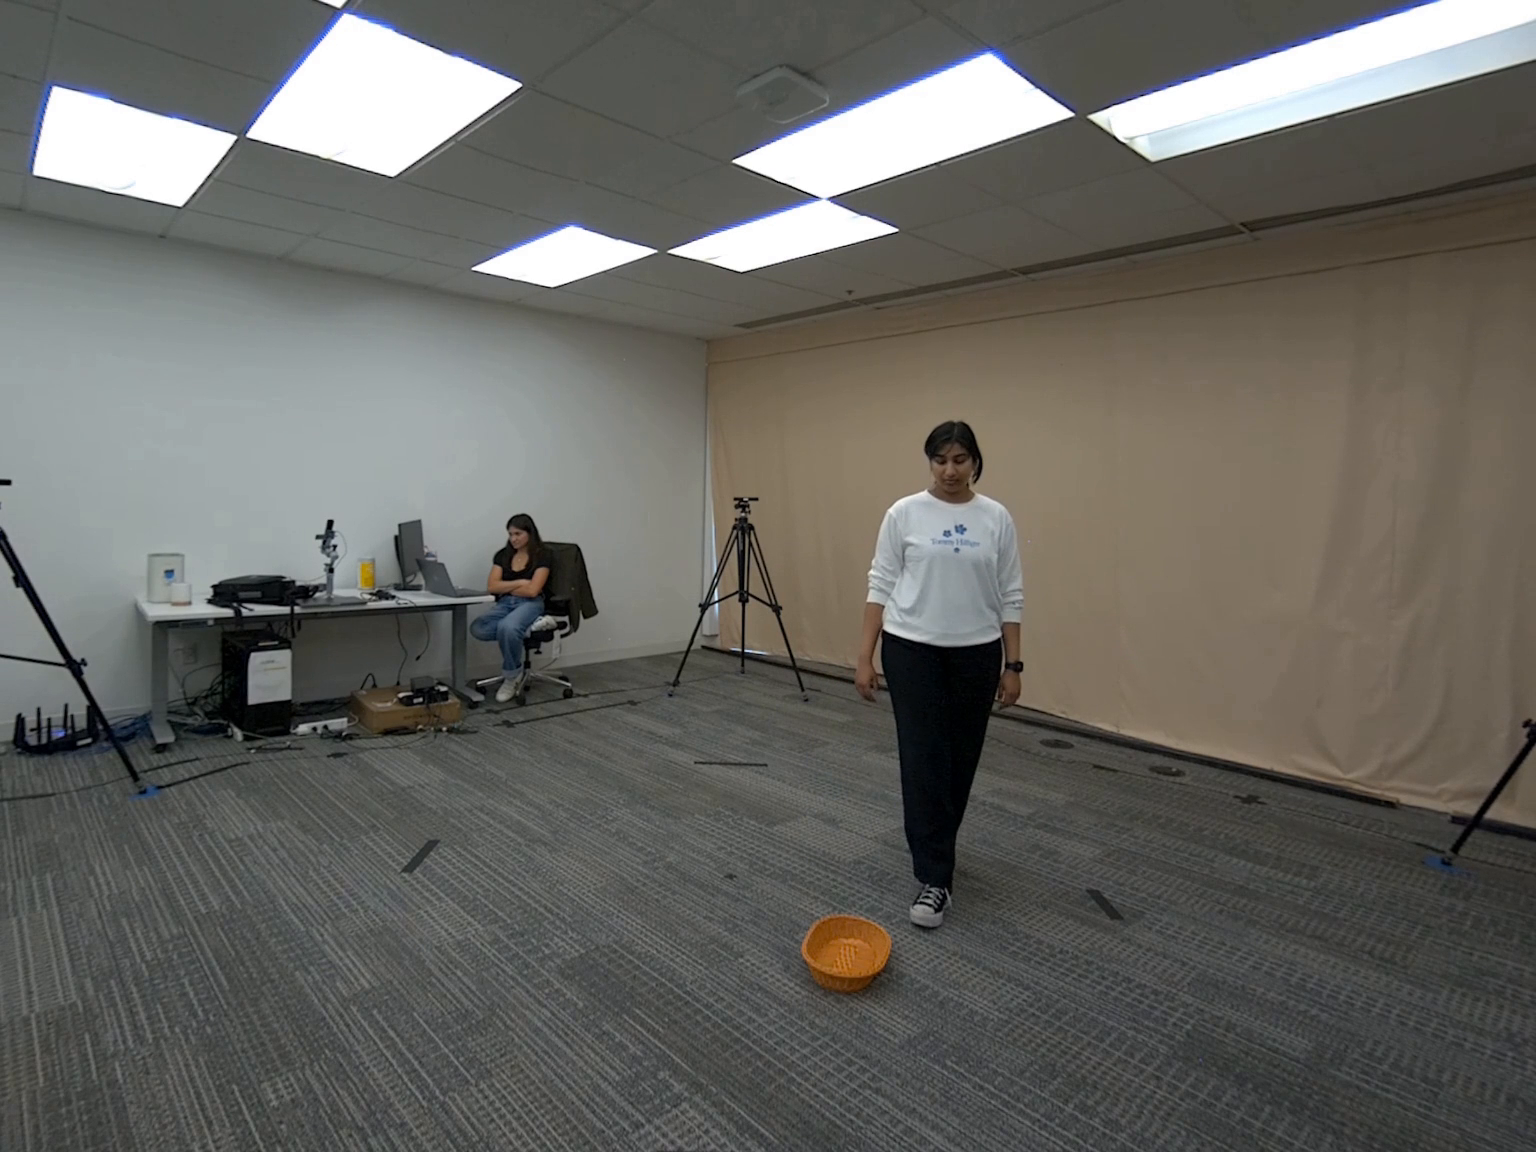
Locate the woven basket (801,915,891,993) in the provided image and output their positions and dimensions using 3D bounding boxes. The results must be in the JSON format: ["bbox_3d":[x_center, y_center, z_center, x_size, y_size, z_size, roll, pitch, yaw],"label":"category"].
[{"bbox_3d":[0.228,1.134,2.518,0.257,0.073,0.345,5,6,22],"label":"woven basket"}]
